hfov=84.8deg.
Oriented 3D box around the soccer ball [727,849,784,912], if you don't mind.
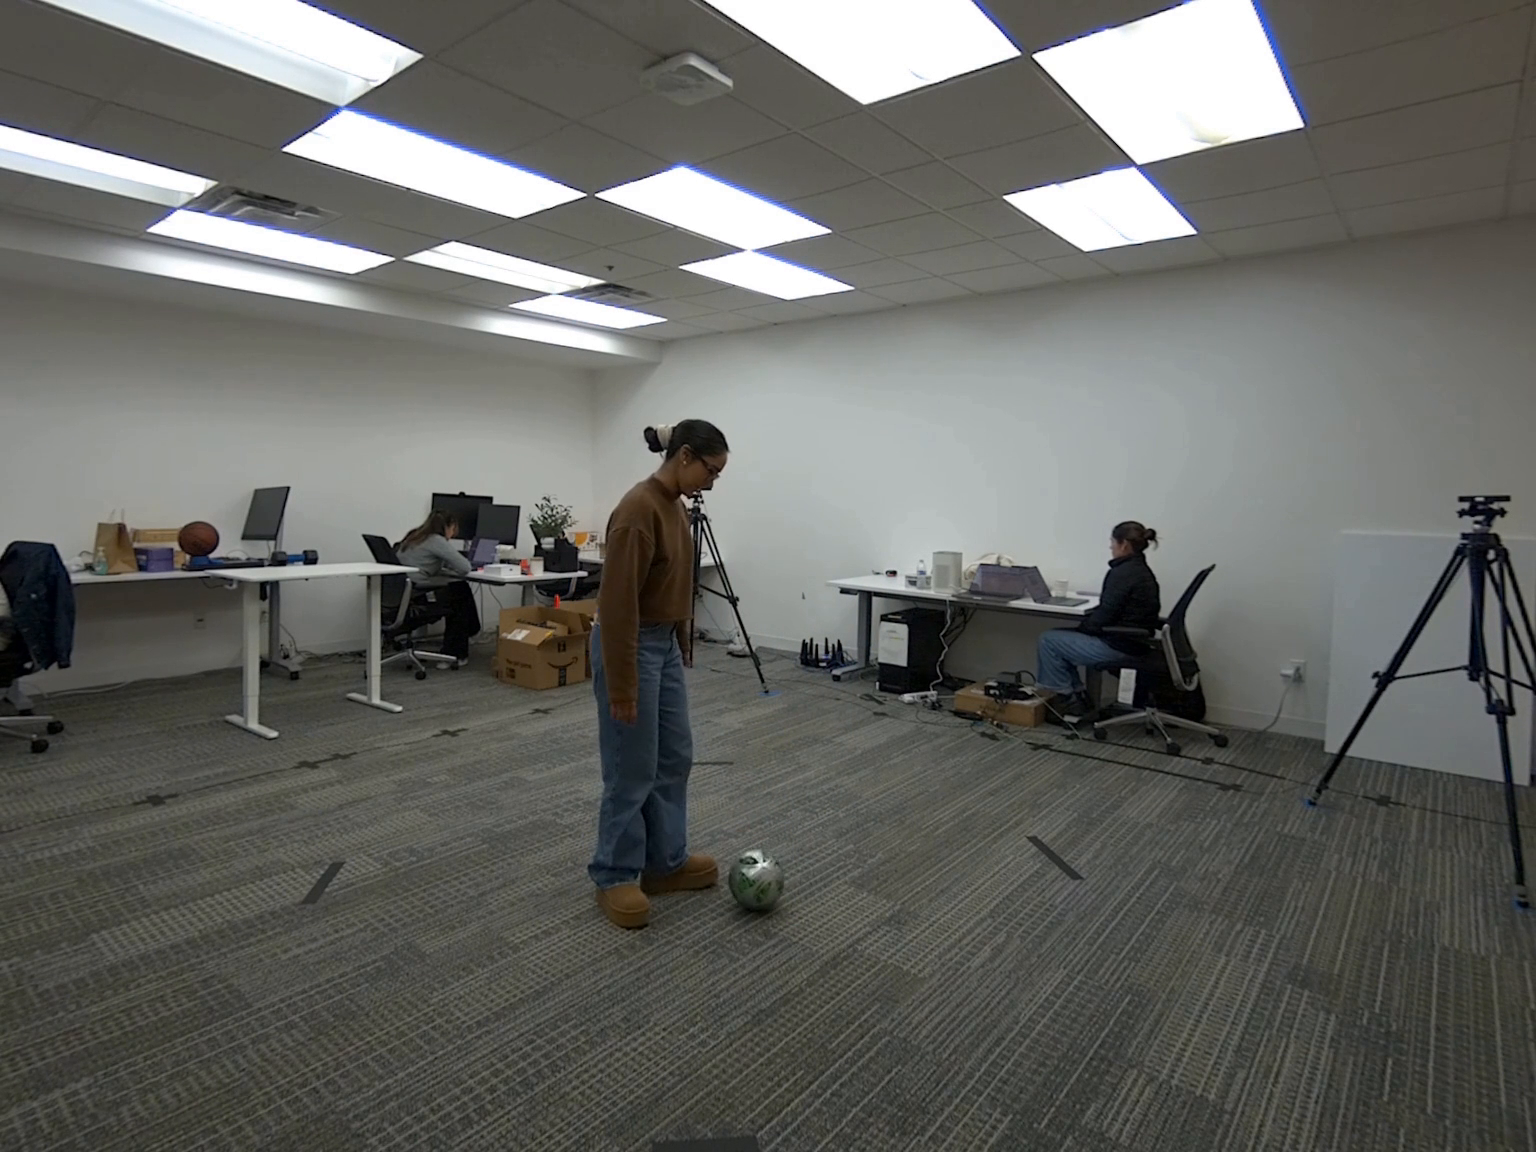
[{"bbox_3d":[-0.044,1.005,2.808,0.187,0.187,0.188,1,4,-2],"label":"soccer ball"}]
